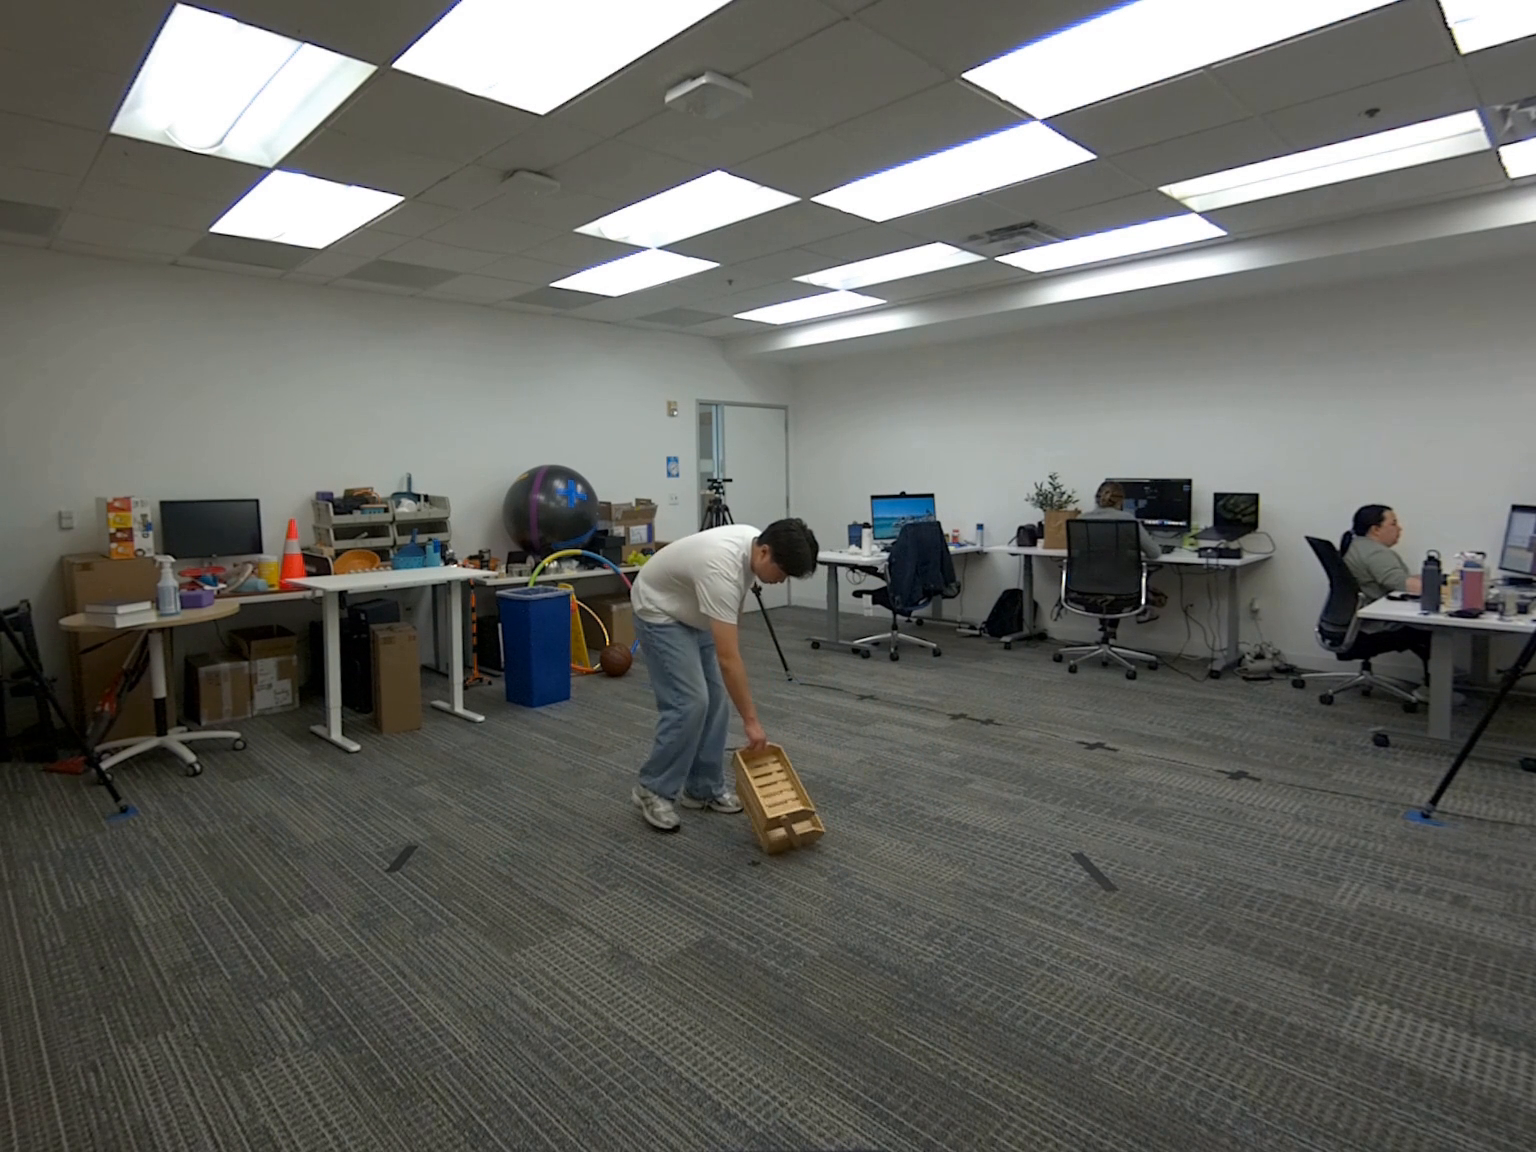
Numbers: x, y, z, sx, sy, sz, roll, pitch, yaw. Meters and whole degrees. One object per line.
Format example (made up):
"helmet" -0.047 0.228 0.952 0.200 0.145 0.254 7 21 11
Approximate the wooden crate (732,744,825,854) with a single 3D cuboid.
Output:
"wooden crate" 0.048 0.827 3.236 0.296 0.268 0.337 -7 42 -24
